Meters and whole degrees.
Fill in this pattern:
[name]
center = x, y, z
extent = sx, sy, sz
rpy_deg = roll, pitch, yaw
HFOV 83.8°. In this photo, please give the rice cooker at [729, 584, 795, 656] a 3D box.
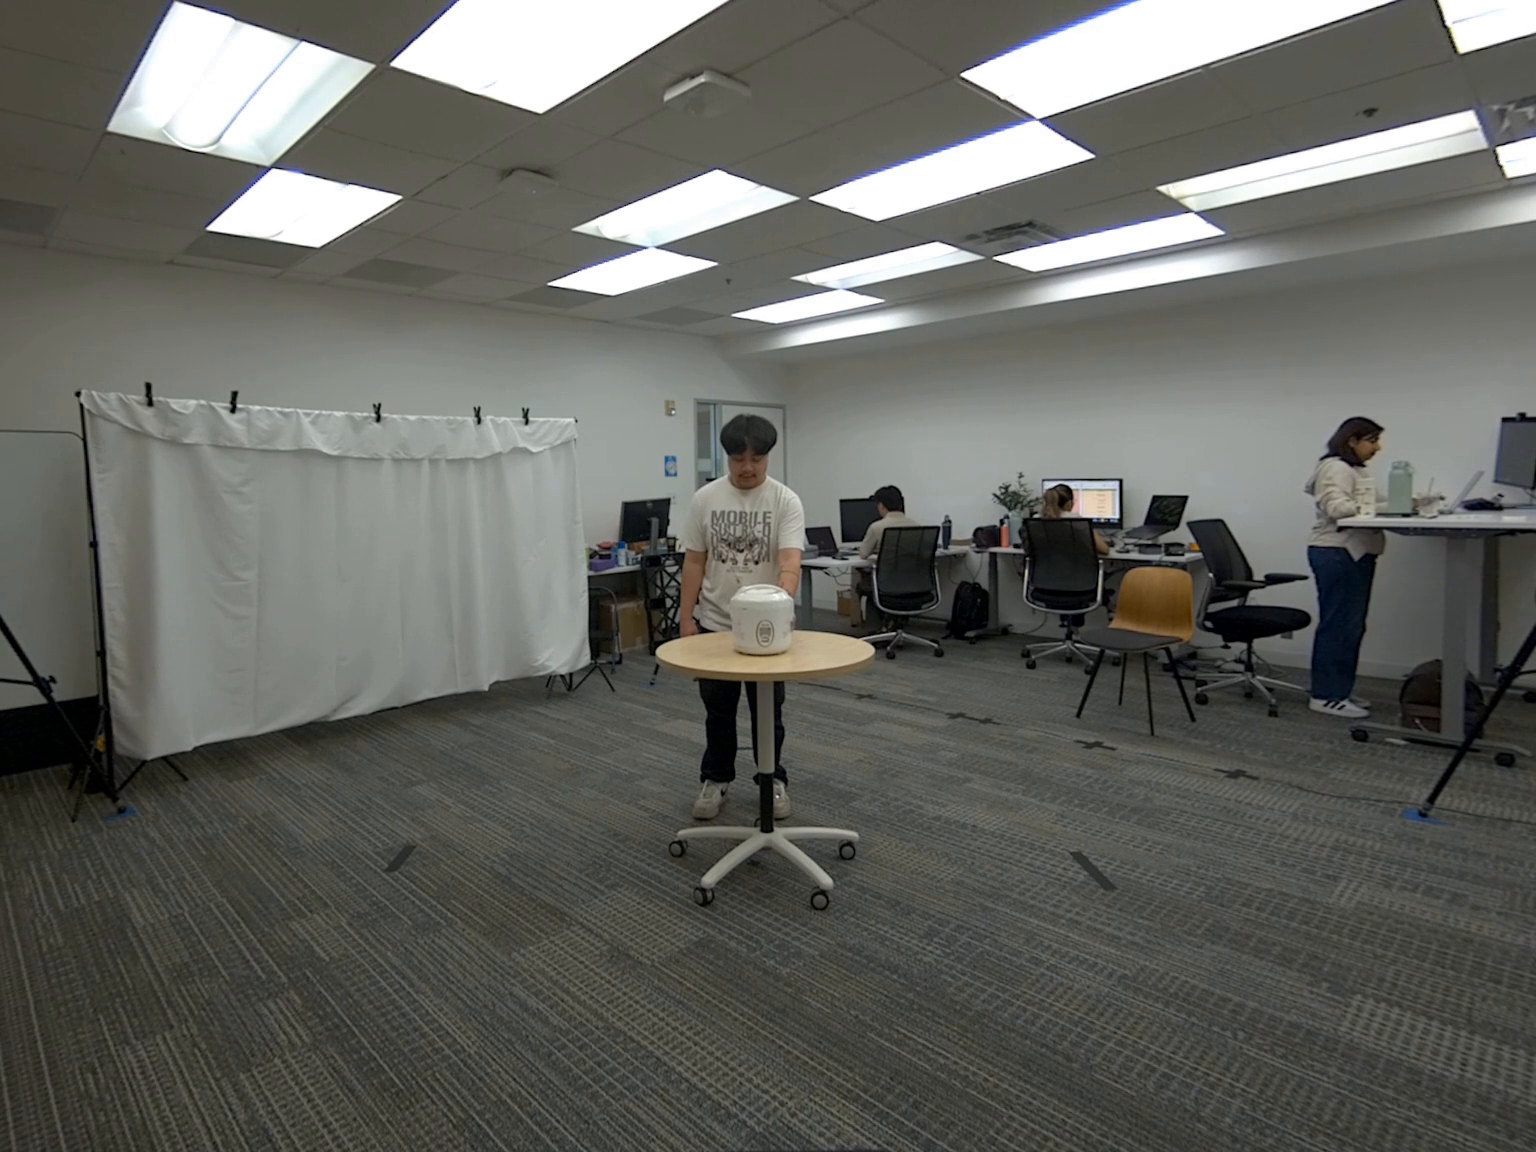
[rice cooker]
center = -0.024, 0.145, 2.956
extent = 0.219, 0.232, 0.219
rpy_deg = -1, 5, -6
